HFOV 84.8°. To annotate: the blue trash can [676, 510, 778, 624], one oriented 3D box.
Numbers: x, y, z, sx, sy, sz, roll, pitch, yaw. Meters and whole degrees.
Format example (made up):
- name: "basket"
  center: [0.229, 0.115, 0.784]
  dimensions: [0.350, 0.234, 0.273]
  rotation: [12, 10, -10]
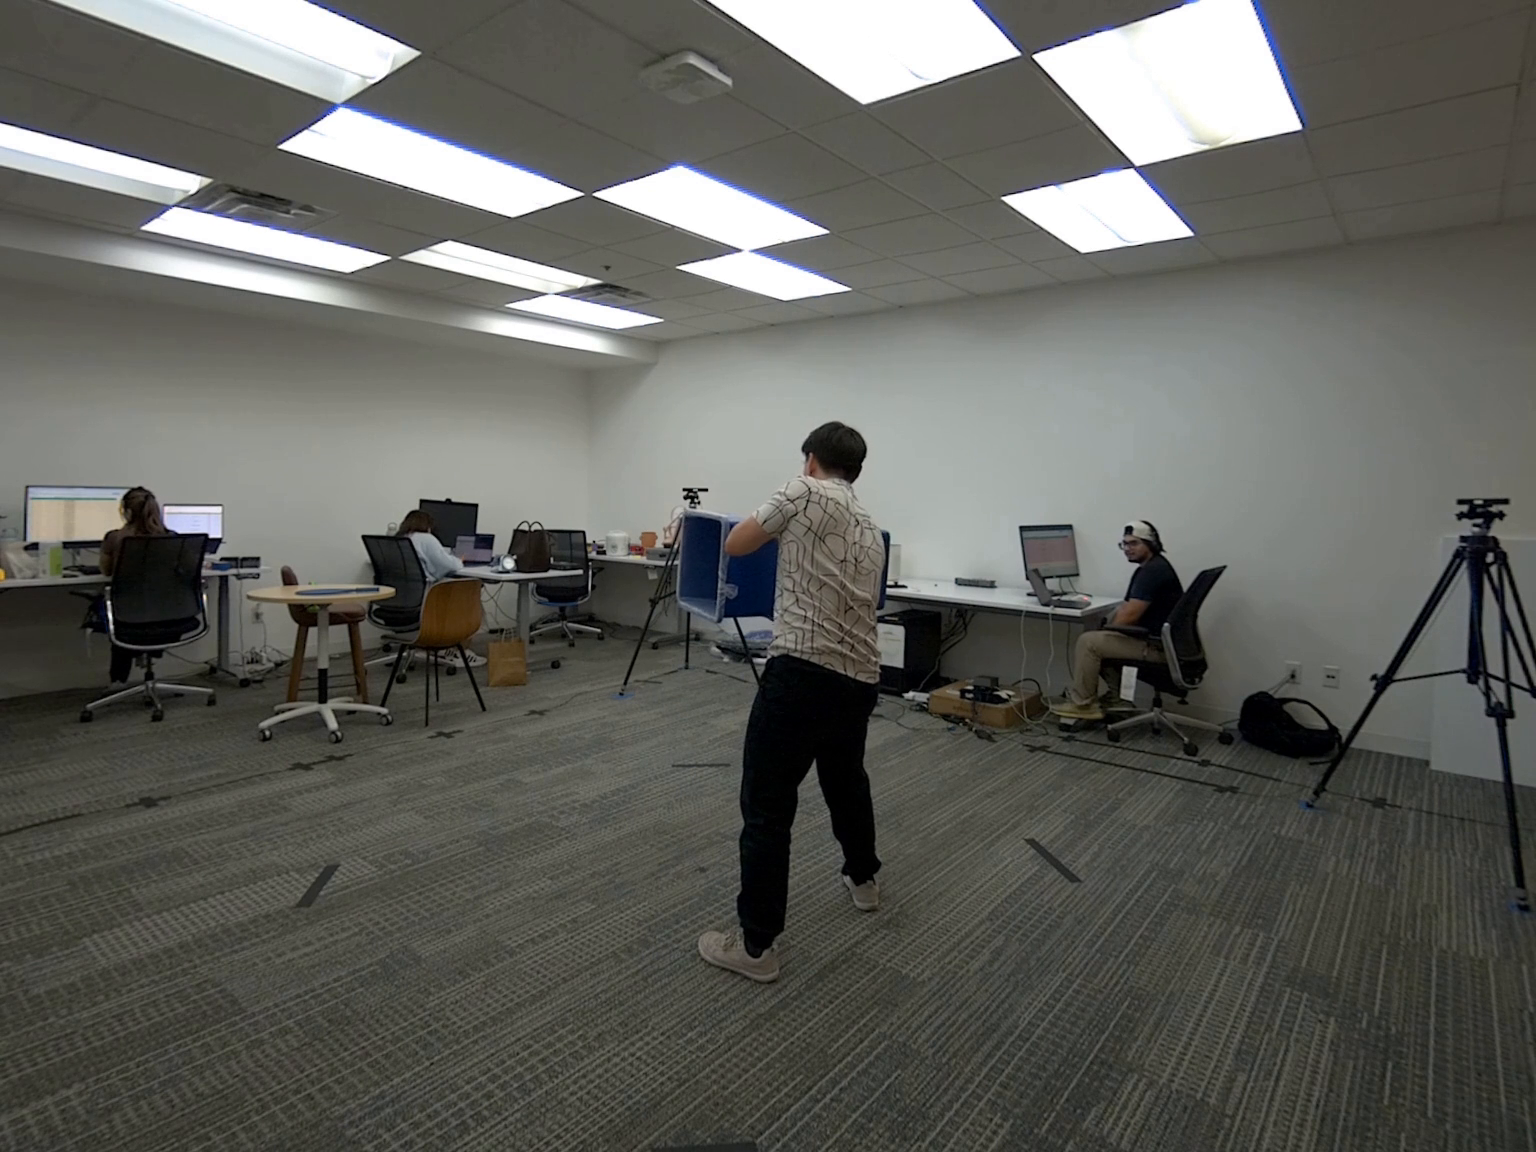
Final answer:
- name: "blue trash can"
  center: [0.050, -0.051, 3.180]
  dimensions: [0.695, 0.372, 0.390]
  rotation: [-1, 7, -28]
